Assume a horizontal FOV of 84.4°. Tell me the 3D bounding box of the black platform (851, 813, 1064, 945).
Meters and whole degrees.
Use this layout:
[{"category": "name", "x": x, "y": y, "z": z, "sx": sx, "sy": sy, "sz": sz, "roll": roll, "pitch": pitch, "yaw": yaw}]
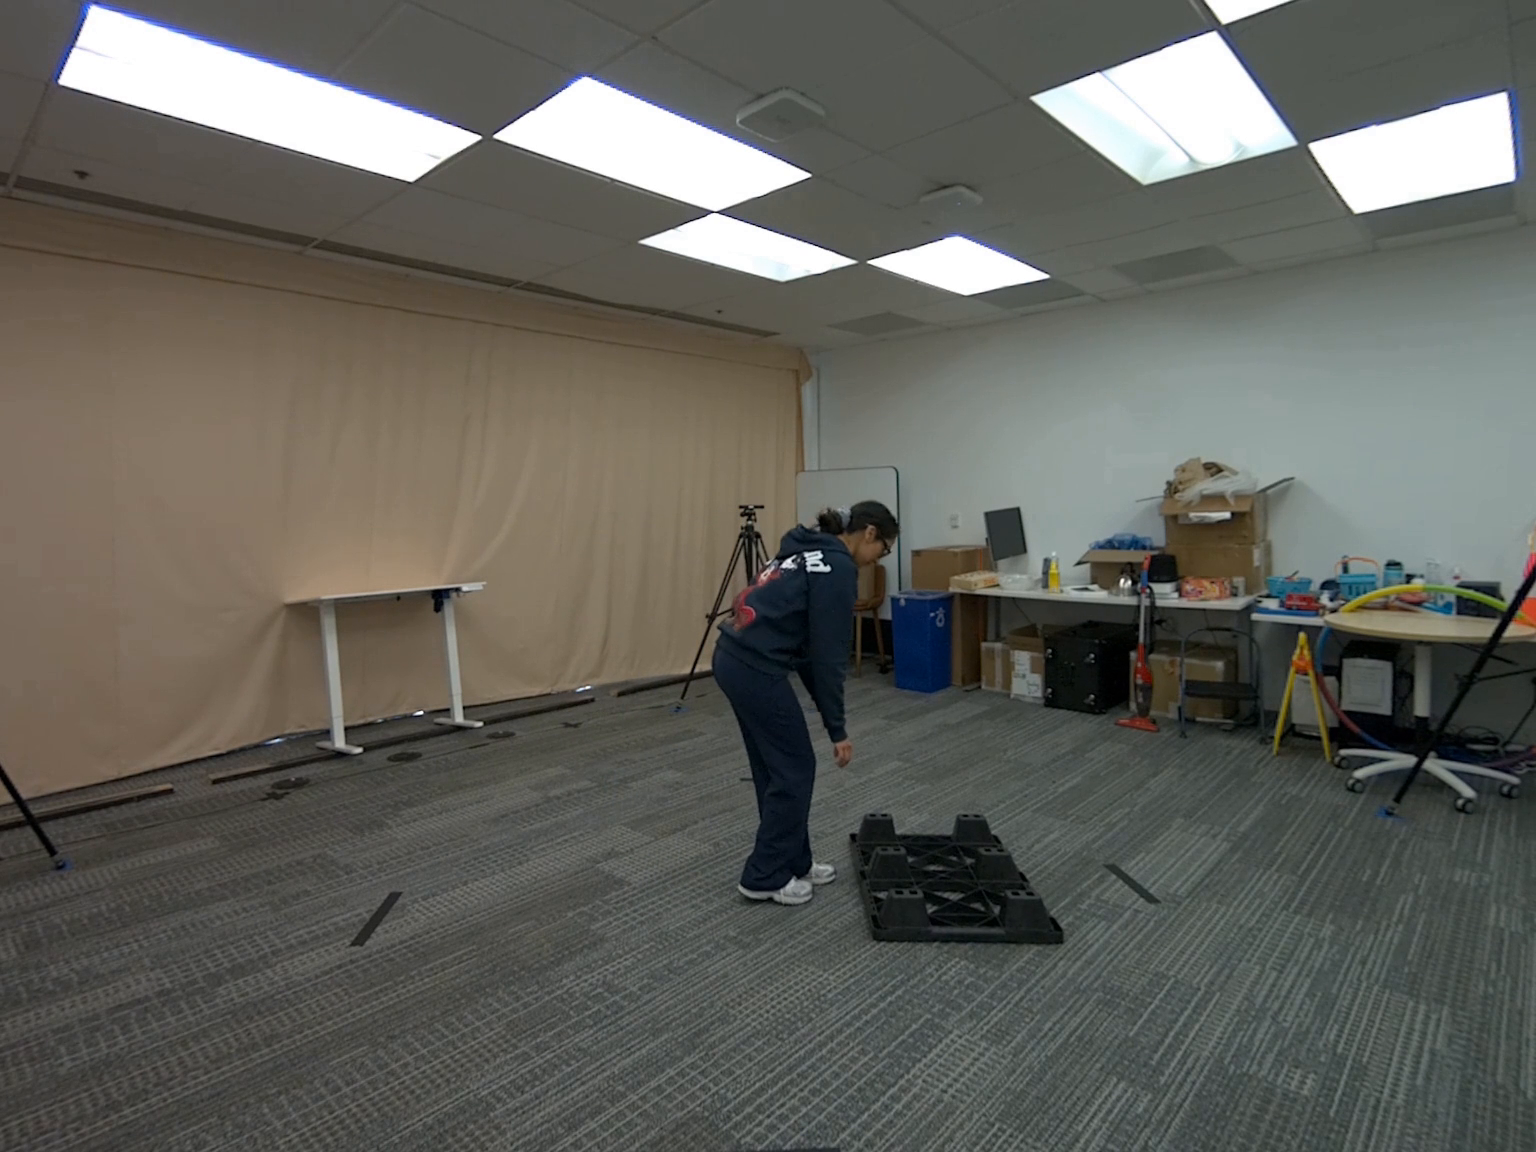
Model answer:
[{"category": "black platform", "x": 0.640, "y": 1.059, "z": 3.037, "sx": 0.607, "sy": 0.143, "sz": 0.806, "roll": -1, "pitch": 5, "yaw": 1}]
